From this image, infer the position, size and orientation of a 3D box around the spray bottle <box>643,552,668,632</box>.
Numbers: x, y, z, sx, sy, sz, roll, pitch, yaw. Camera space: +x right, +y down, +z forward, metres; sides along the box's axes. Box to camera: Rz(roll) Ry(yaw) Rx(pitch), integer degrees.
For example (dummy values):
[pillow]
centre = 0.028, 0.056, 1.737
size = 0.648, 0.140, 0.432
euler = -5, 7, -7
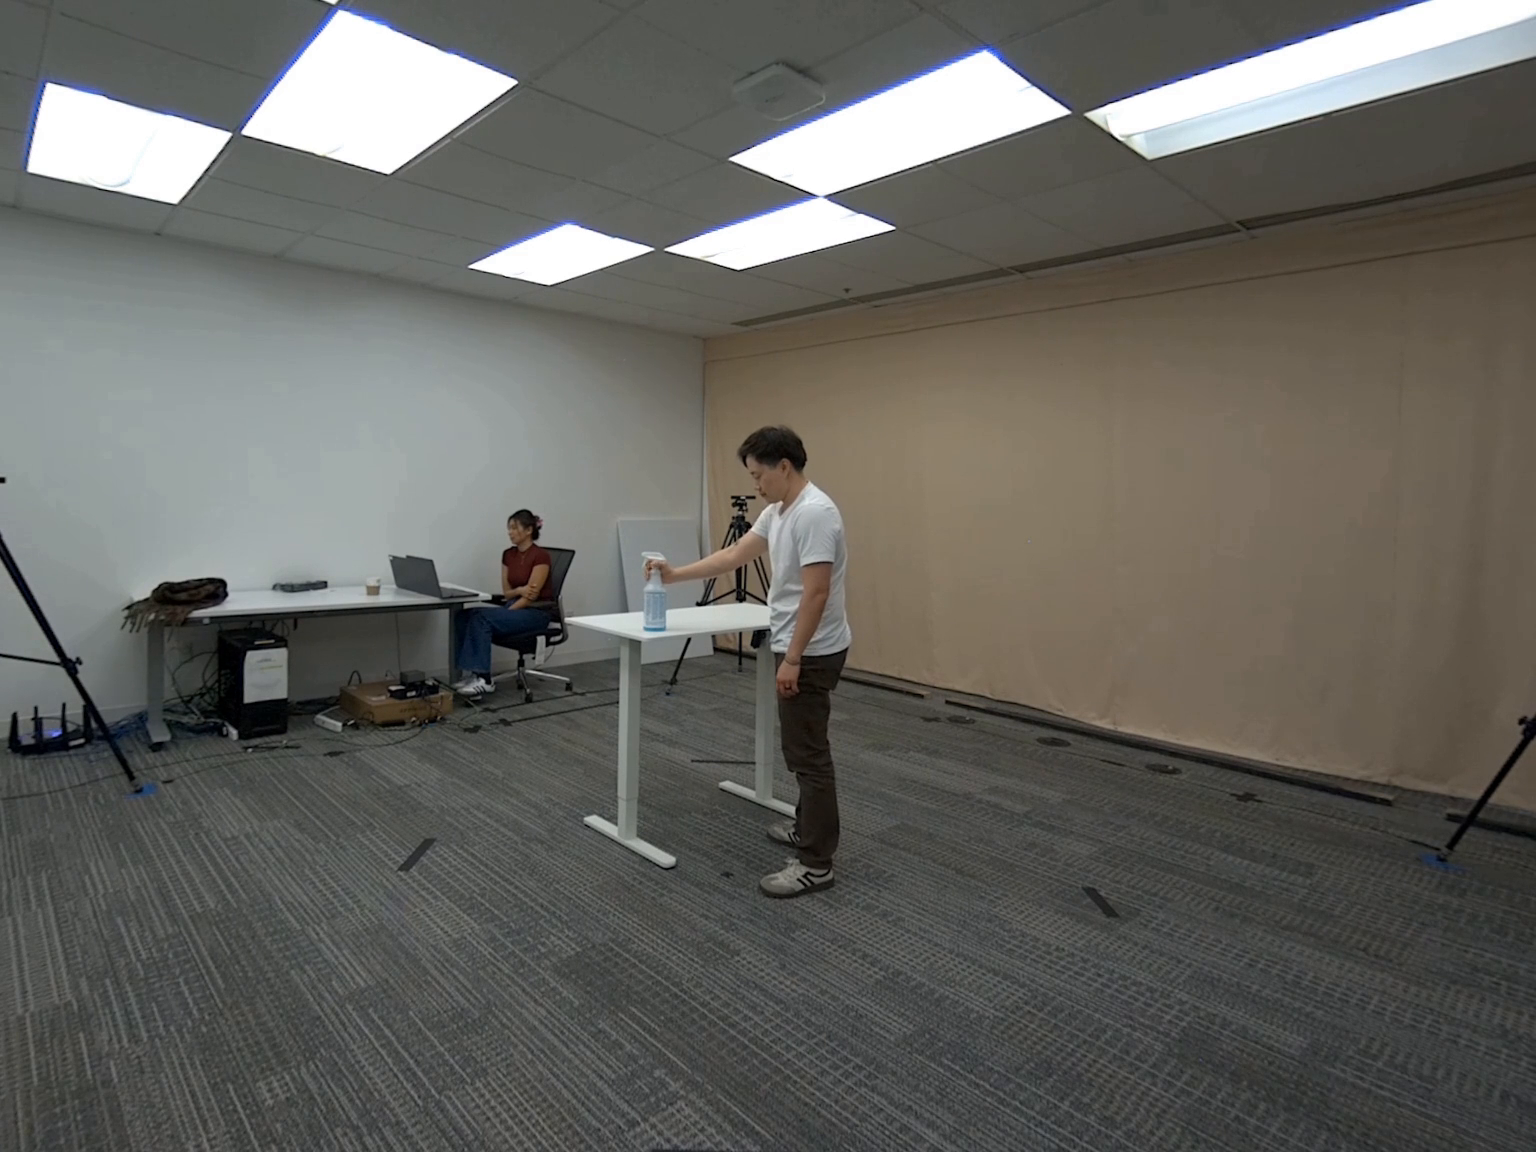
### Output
[spray bottle]
centre = -0.432, 0.061, 3.194
size = 0.091, 0.296, 0.086
euler = 1, 3, 14
